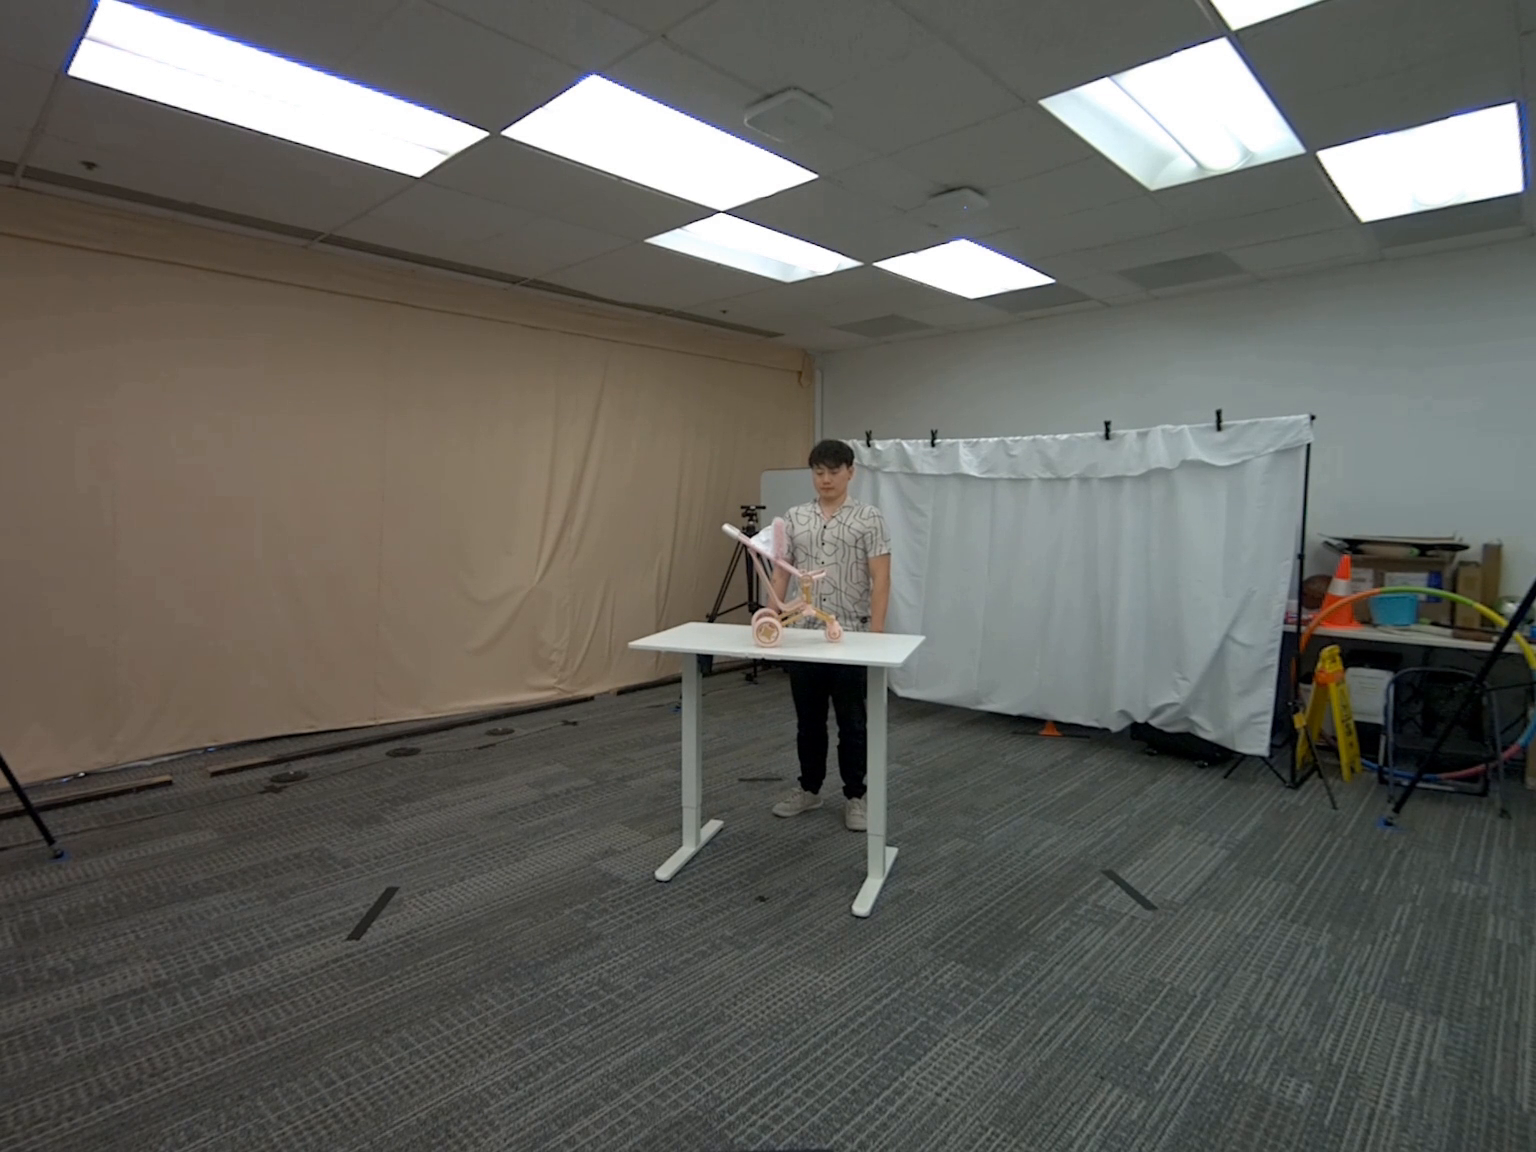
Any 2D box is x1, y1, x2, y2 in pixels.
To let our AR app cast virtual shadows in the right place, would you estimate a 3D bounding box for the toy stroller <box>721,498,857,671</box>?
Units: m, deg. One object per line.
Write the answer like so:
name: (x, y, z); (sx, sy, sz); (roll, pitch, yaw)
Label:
toy stroller: (0.072, 0.020, 3.135); (0.342, 0.533, 0.281); (-16, 4, 3)
